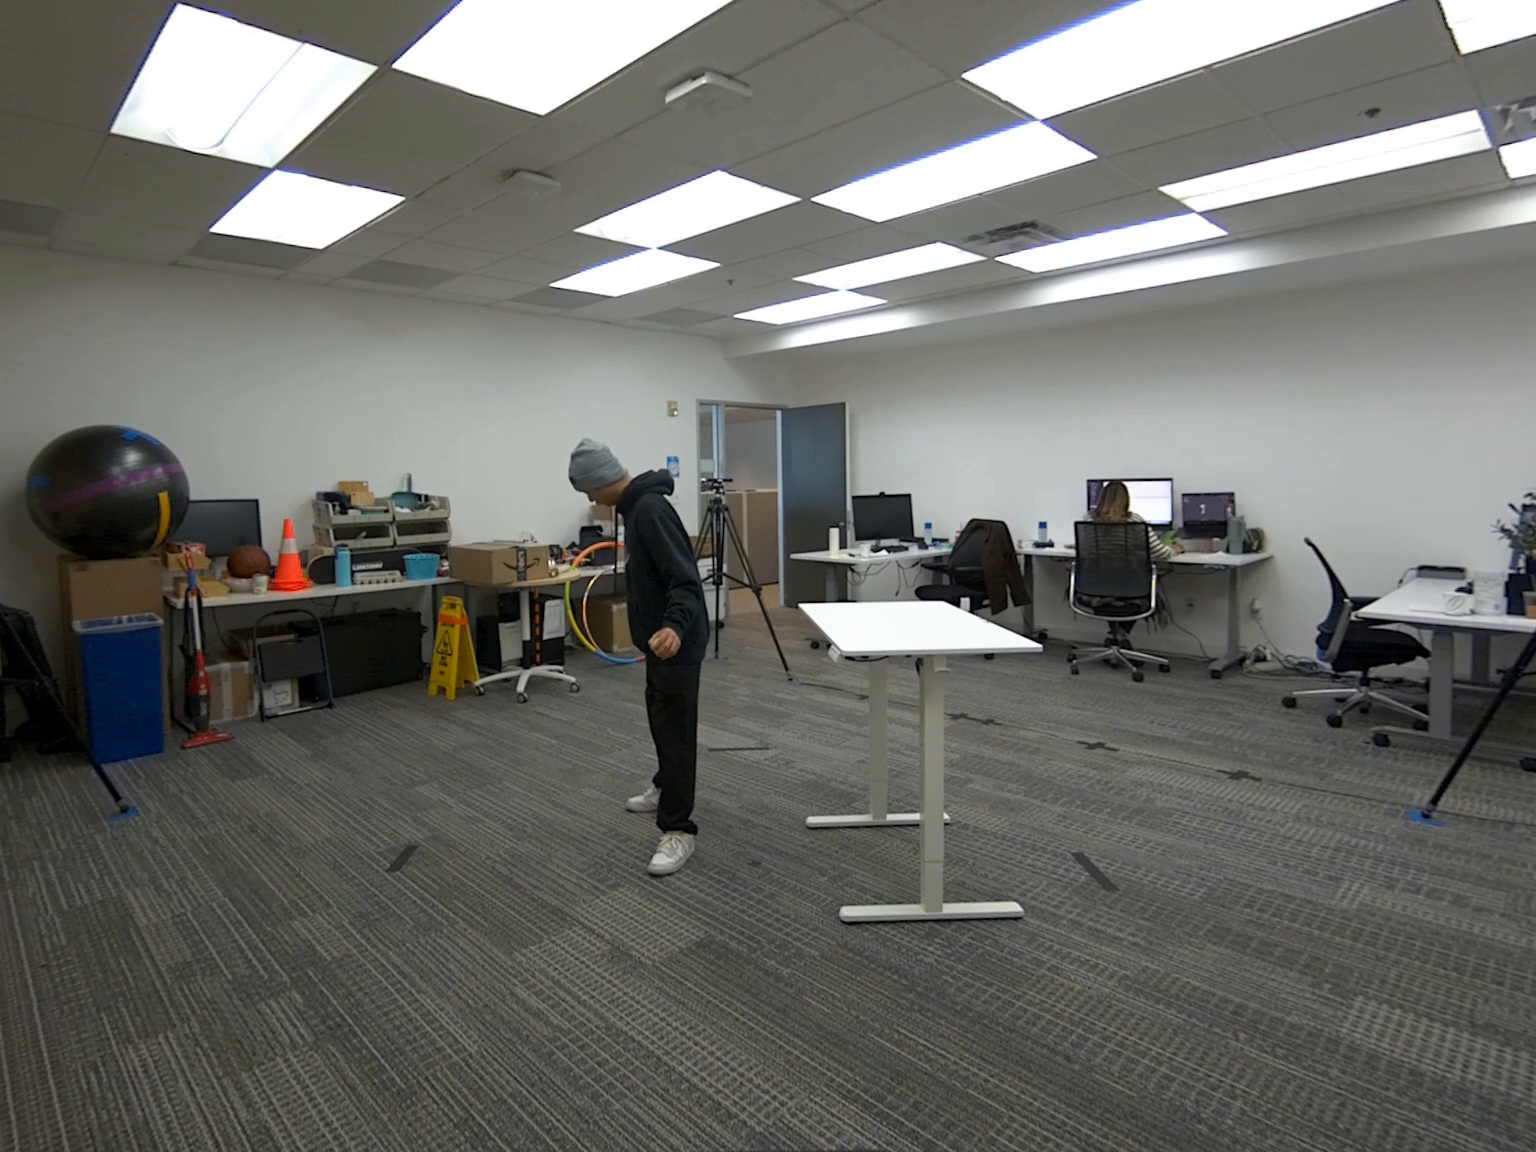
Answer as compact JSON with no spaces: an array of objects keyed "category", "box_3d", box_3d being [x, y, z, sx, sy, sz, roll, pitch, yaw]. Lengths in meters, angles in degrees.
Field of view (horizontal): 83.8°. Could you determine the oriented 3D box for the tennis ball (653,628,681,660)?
[{"category":"tennis ball","box_3d":[-0.323,0.218,2.902,0.066,0.066,0.067,-1,5,-2]}]
